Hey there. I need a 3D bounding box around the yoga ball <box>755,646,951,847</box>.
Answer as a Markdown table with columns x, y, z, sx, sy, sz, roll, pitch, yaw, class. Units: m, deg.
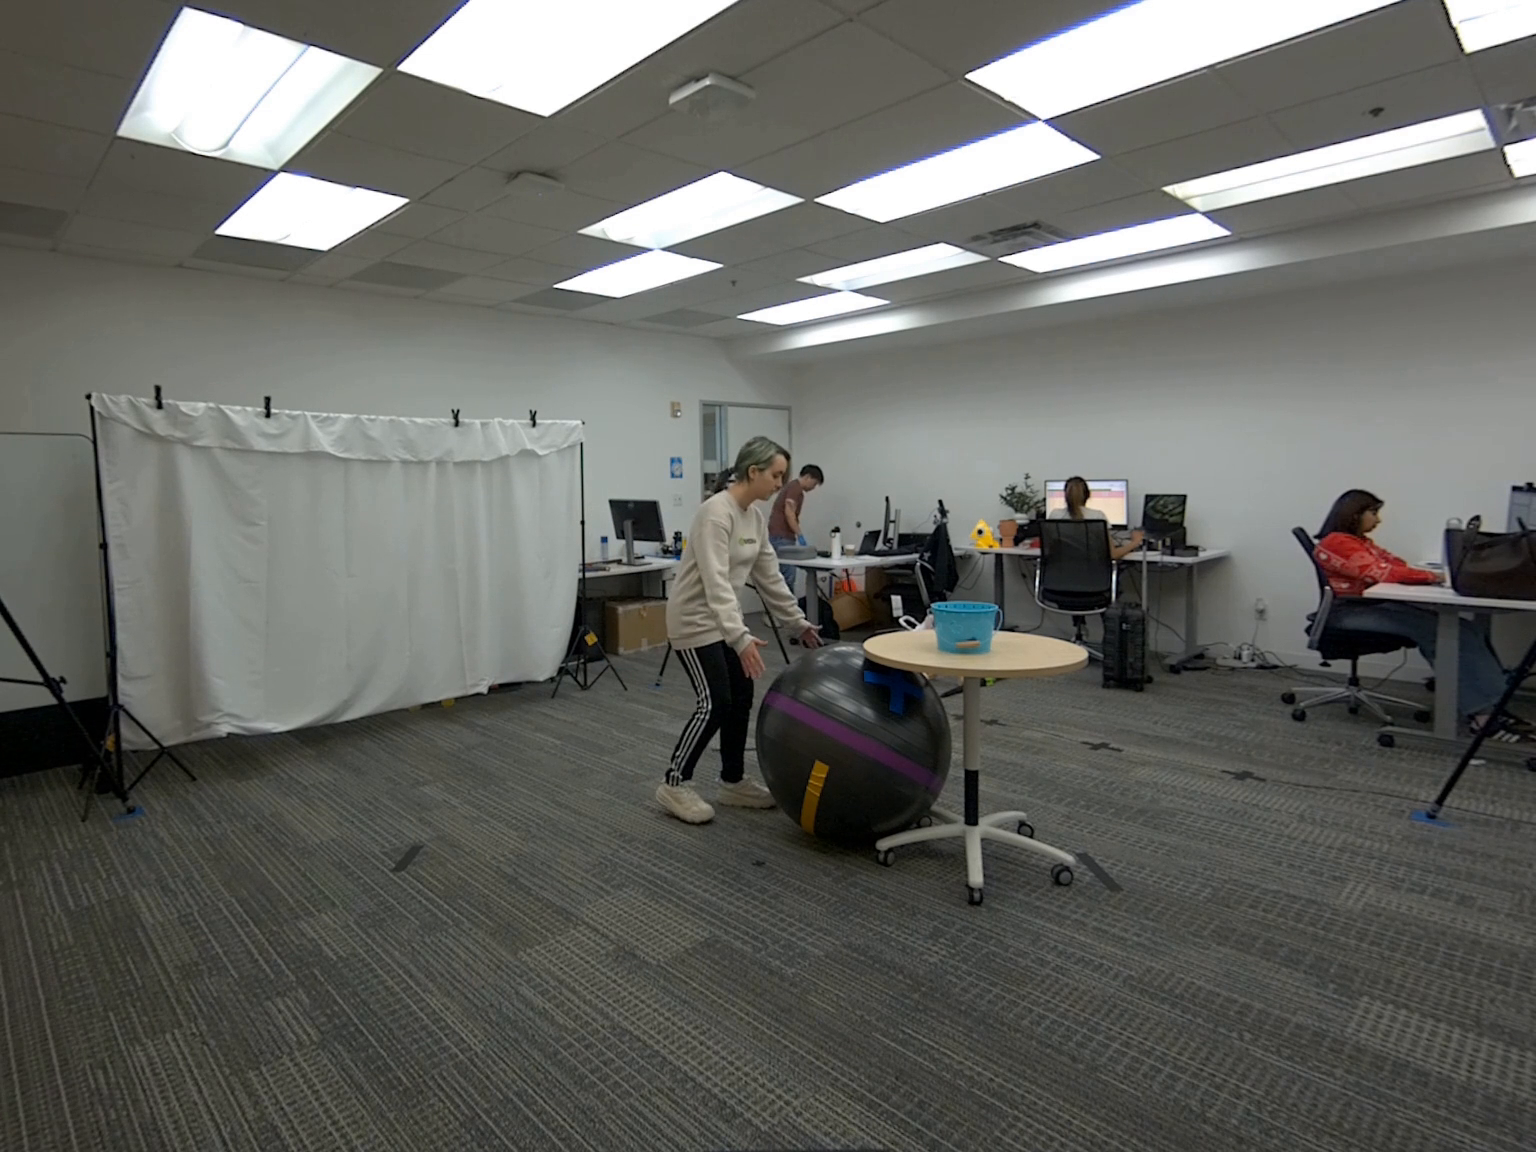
| x | y | z | sx | sy | sz | roll | pitch | yaw | class |
| --- | --- | --- | --- | --- | --- | --- | --- | --- | --- |
| 0.338 | 0.650 | 3.340 | 0.757 | 0.755 | 0.762 | -1 | 5 | -2 | yoga ball |
